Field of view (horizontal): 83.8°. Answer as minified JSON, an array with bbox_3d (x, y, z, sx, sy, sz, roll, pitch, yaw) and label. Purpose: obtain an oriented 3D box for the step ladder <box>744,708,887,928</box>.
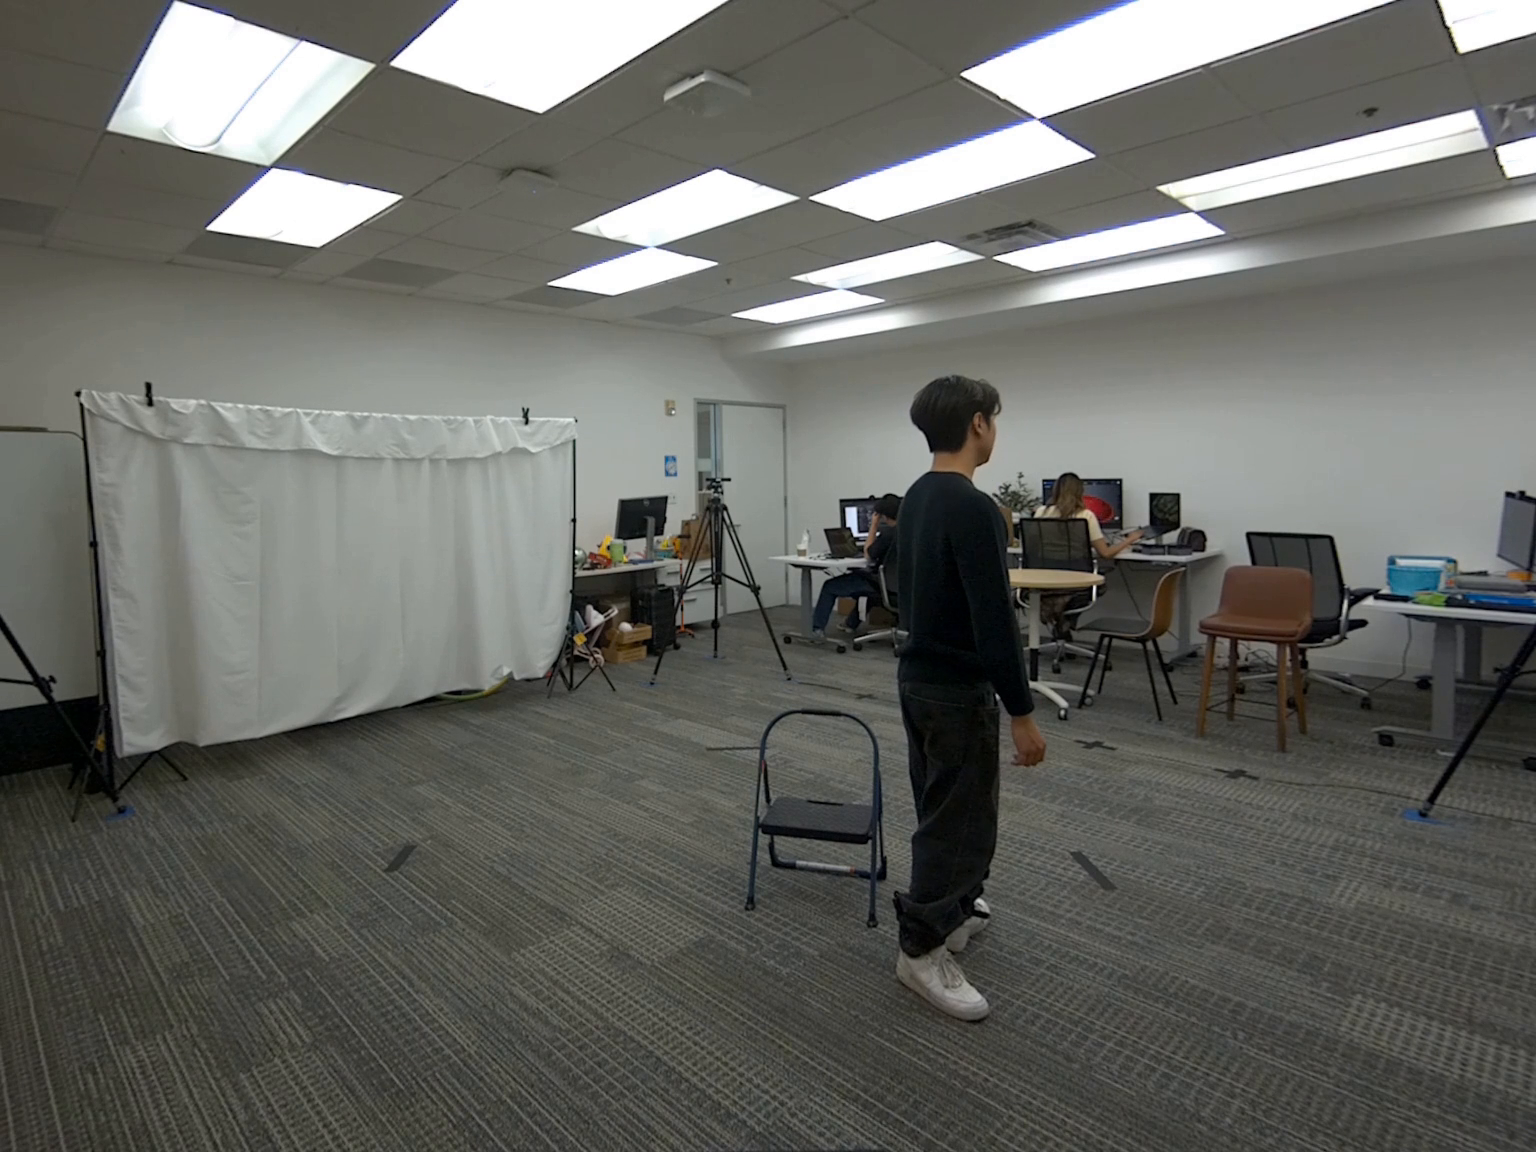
[{"bbox_3d":[0.169,0.766,2.851,0.438,0.603,0.345,0,5,16],"label":"step ladder"}]
